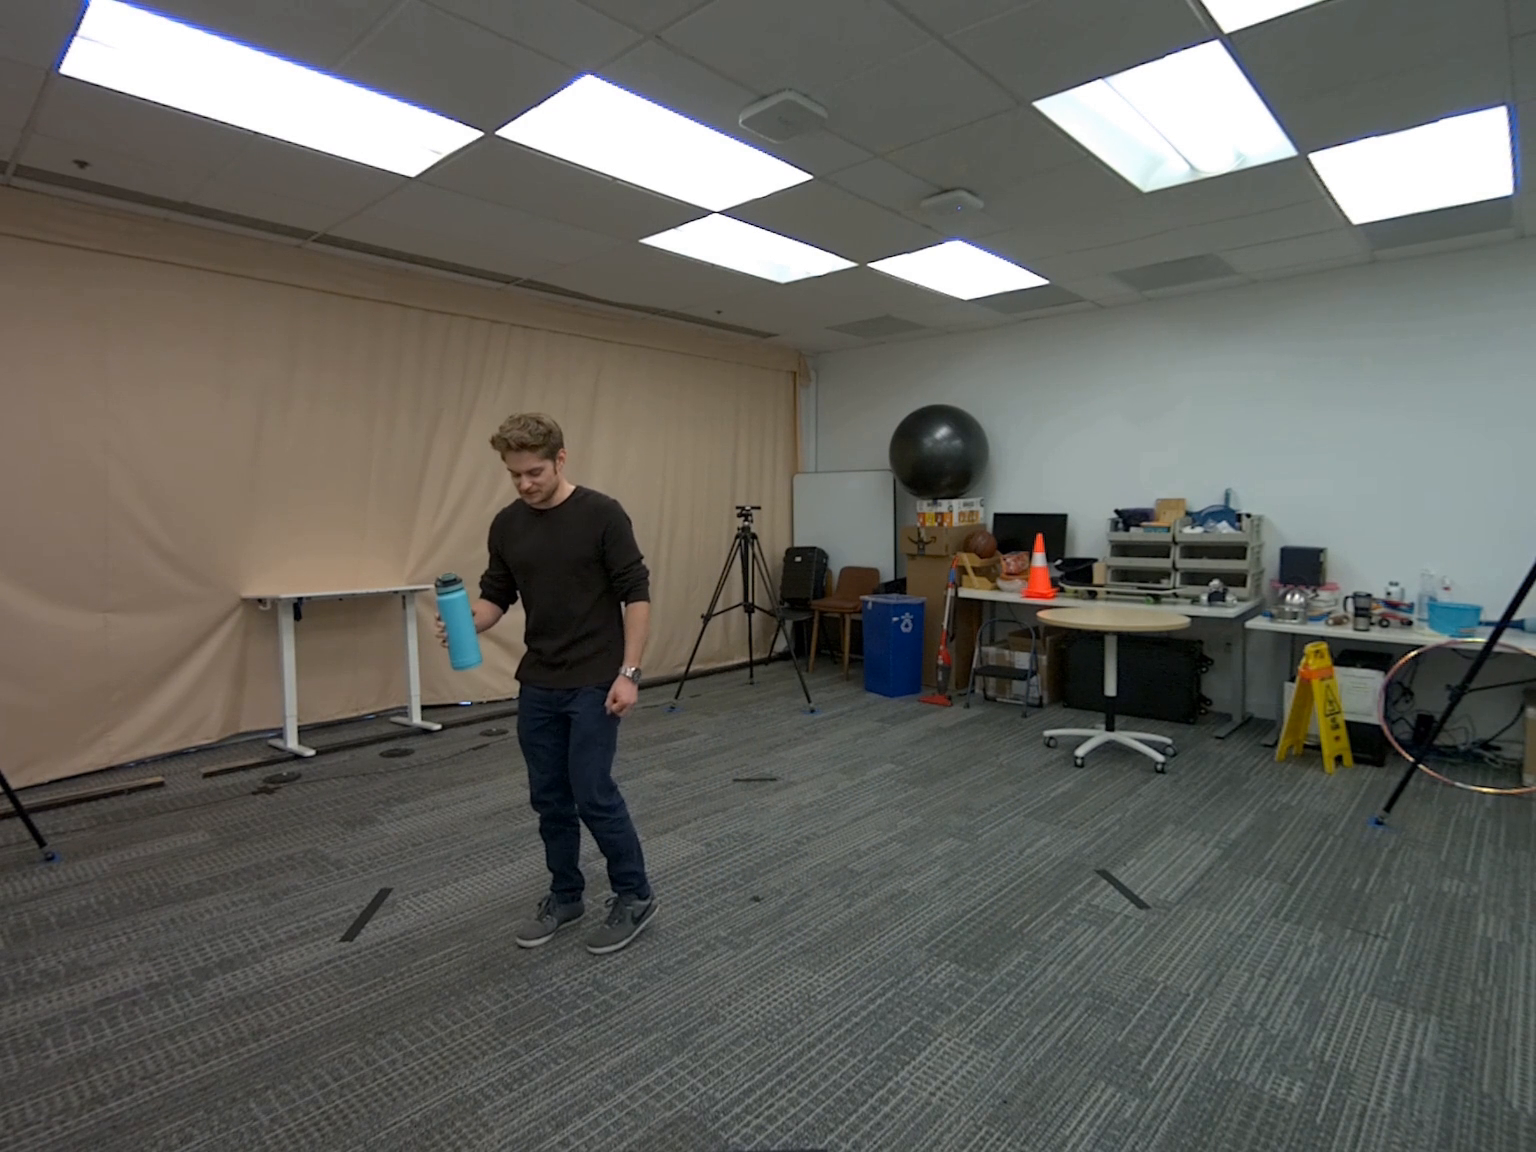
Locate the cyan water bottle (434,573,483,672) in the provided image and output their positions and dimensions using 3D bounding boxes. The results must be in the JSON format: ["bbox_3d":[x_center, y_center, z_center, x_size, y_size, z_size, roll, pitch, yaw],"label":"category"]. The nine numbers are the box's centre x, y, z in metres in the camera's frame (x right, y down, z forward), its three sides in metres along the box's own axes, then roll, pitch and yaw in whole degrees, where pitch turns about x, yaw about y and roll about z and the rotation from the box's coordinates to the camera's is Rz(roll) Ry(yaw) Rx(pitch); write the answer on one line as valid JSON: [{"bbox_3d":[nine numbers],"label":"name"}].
[{"bbox_3d":[-0.904,0.130,2.460,0.092,0.281,0.093,-9,9,0],"label":"cyan water bottle"}]
